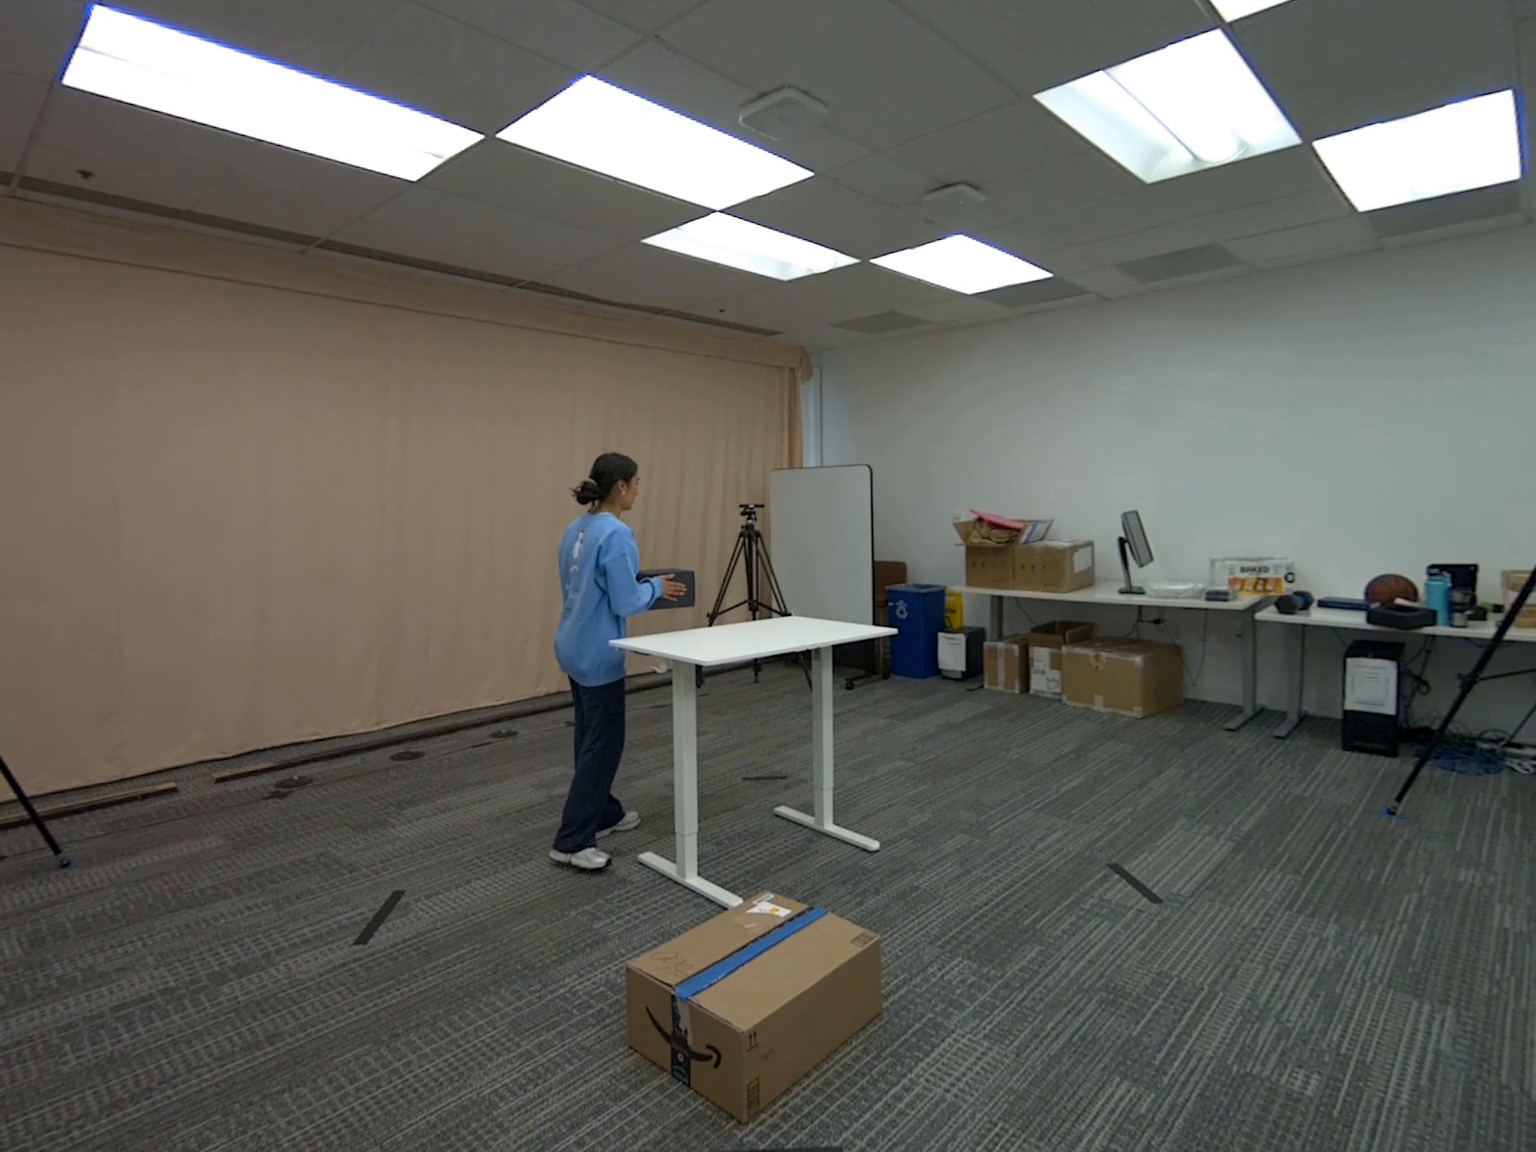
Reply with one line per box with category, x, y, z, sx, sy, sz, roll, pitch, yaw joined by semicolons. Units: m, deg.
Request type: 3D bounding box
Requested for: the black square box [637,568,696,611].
black square box;-0.456;0.051;3.683;0.223;0.155;0.222;-4;5;-22
